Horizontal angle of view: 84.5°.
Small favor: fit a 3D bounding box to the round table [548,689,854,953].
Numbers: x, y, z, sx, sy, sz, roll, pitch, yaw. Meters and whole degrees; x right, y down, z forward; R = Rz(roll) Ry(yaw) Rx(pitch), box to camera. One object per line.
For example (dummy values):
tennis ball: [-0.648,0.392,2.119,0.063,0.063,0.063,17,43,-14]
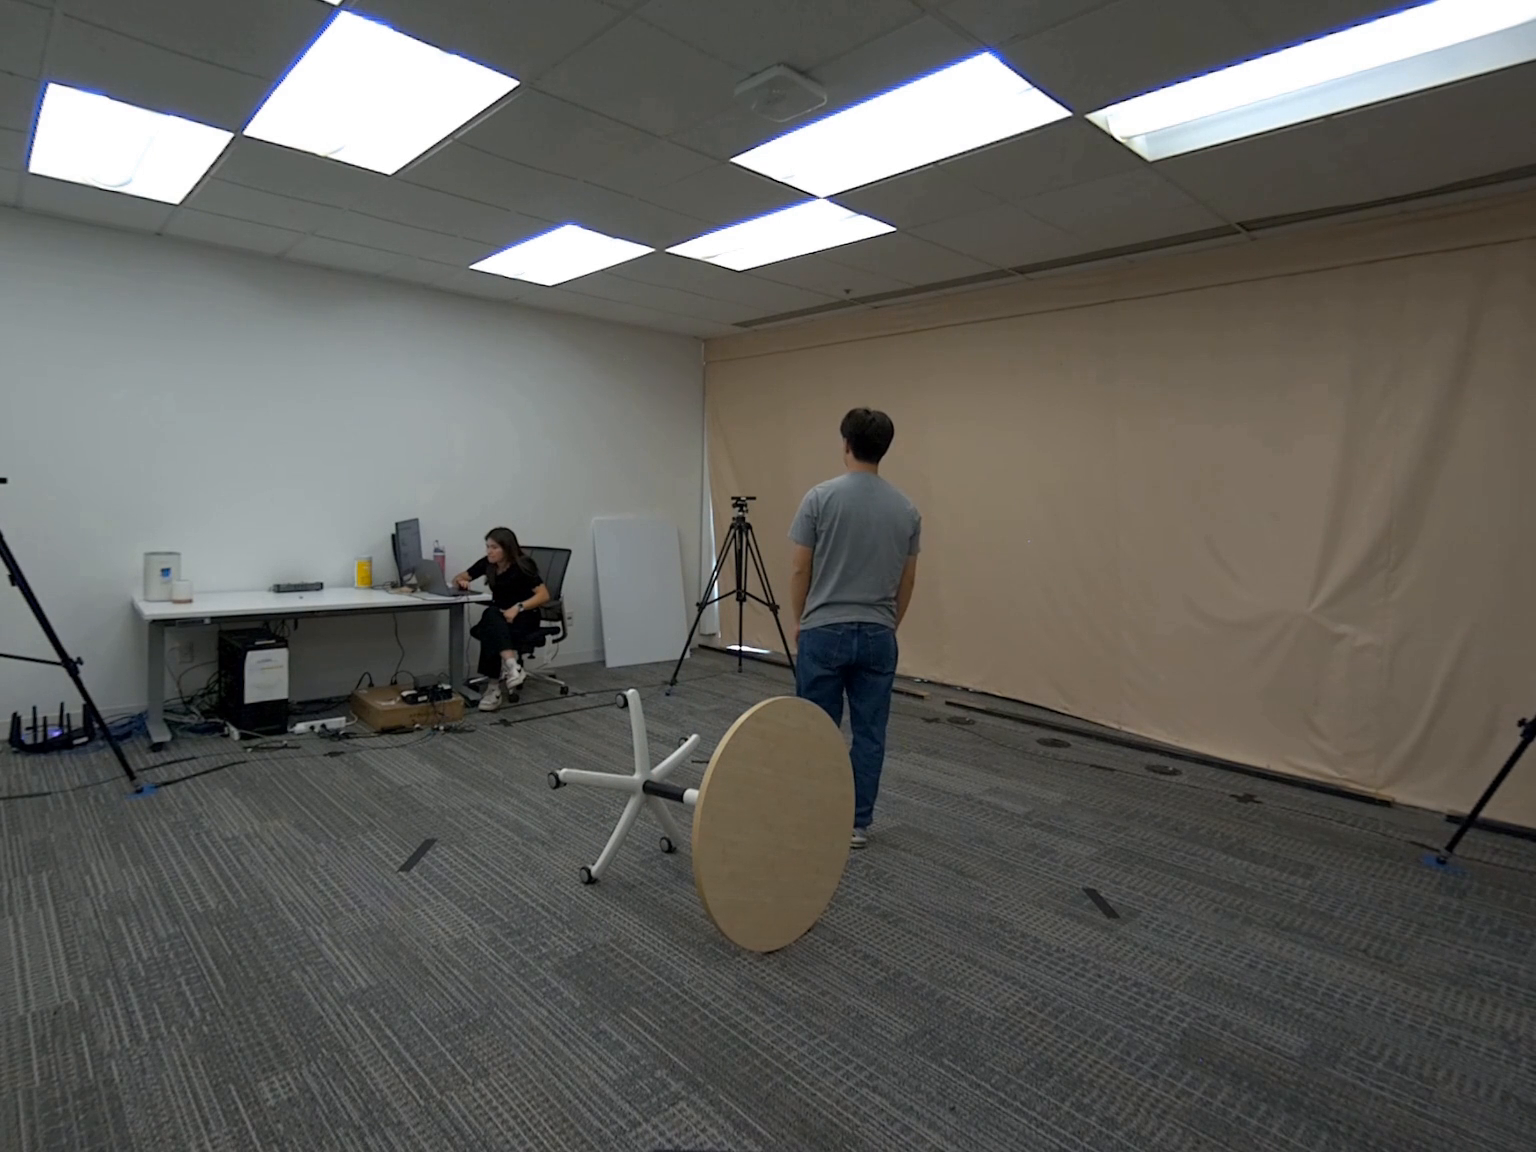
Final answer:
round table: [-0.255,0.777,2.907,0.812,0.764,0.747,-3,0,42]
